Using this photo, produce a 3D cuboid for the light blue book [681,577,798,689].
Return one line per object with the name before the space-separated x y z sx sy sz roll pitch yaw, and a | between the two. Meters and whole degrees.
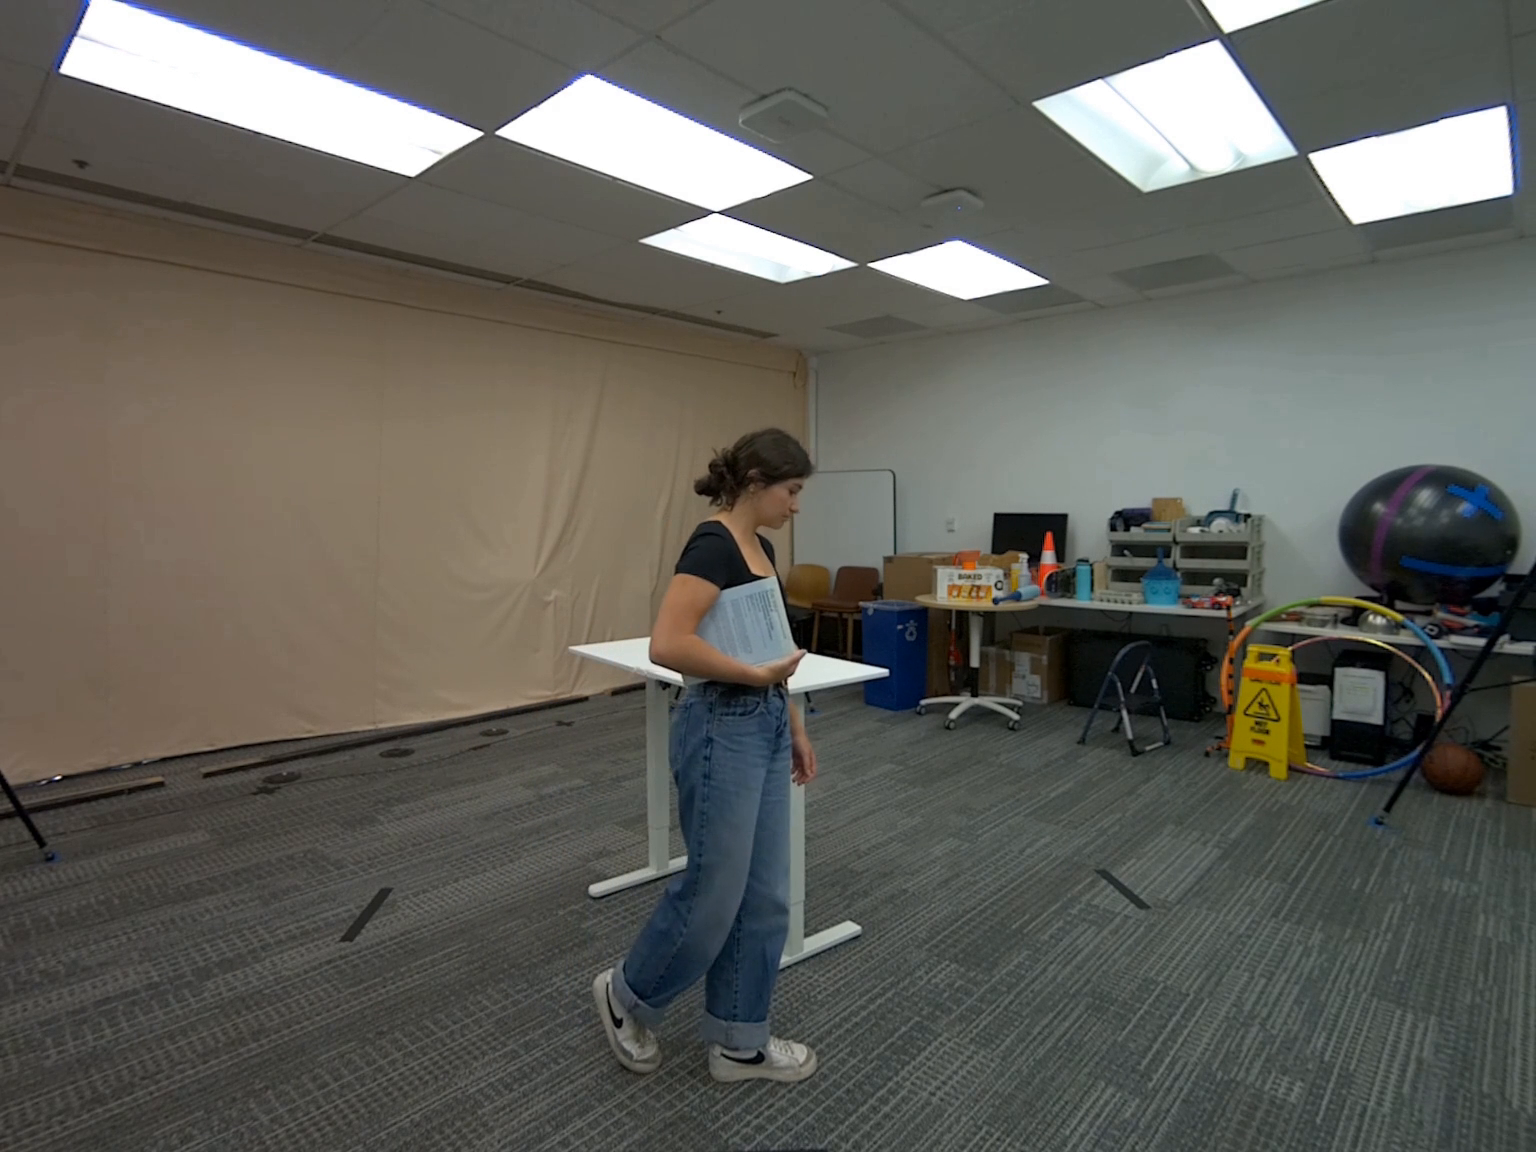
light blue book | -0.086 0.124 1.901 0.263 0.192 0.058 -17 -5 8
